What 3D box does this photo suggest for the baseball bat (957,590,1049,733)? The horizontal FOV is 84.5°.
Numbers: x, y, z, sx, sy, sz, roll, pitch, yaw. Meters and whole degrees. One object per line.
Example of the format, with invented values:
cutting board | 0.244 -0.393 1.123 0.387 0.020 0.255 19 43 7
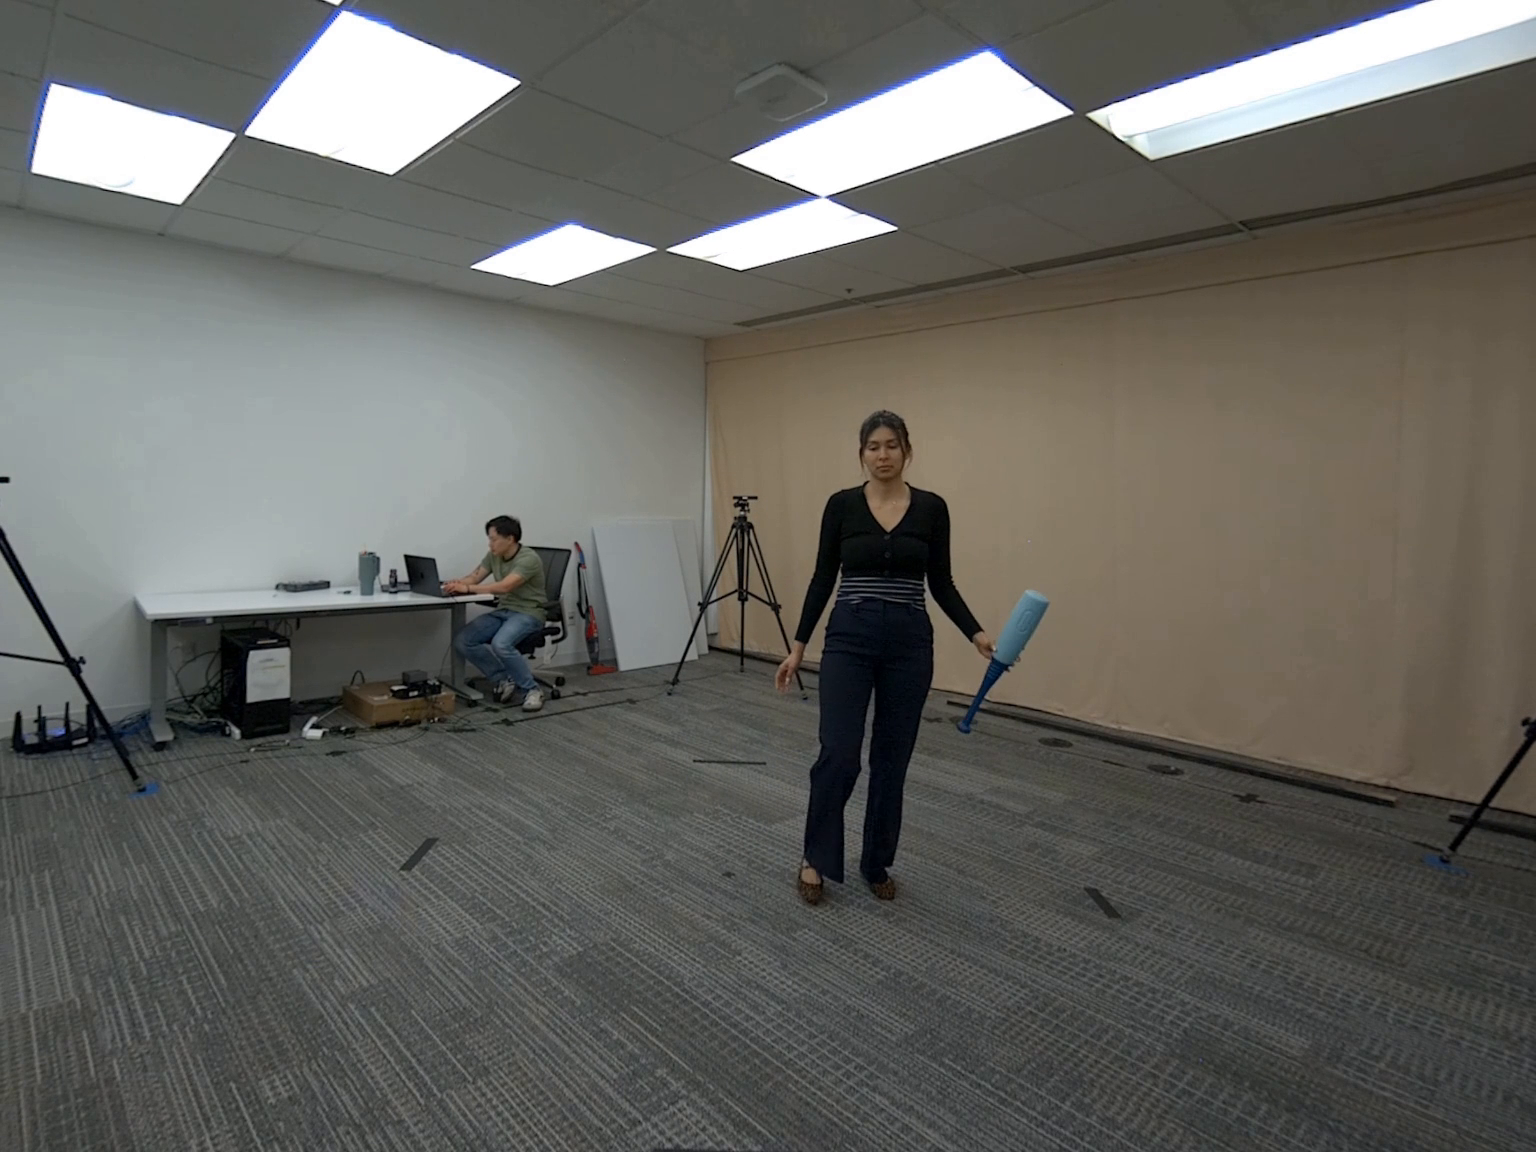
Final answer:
baseball bat | 0.753 0.287 2.749 0.088 0.539 0.090 20 20 -9
